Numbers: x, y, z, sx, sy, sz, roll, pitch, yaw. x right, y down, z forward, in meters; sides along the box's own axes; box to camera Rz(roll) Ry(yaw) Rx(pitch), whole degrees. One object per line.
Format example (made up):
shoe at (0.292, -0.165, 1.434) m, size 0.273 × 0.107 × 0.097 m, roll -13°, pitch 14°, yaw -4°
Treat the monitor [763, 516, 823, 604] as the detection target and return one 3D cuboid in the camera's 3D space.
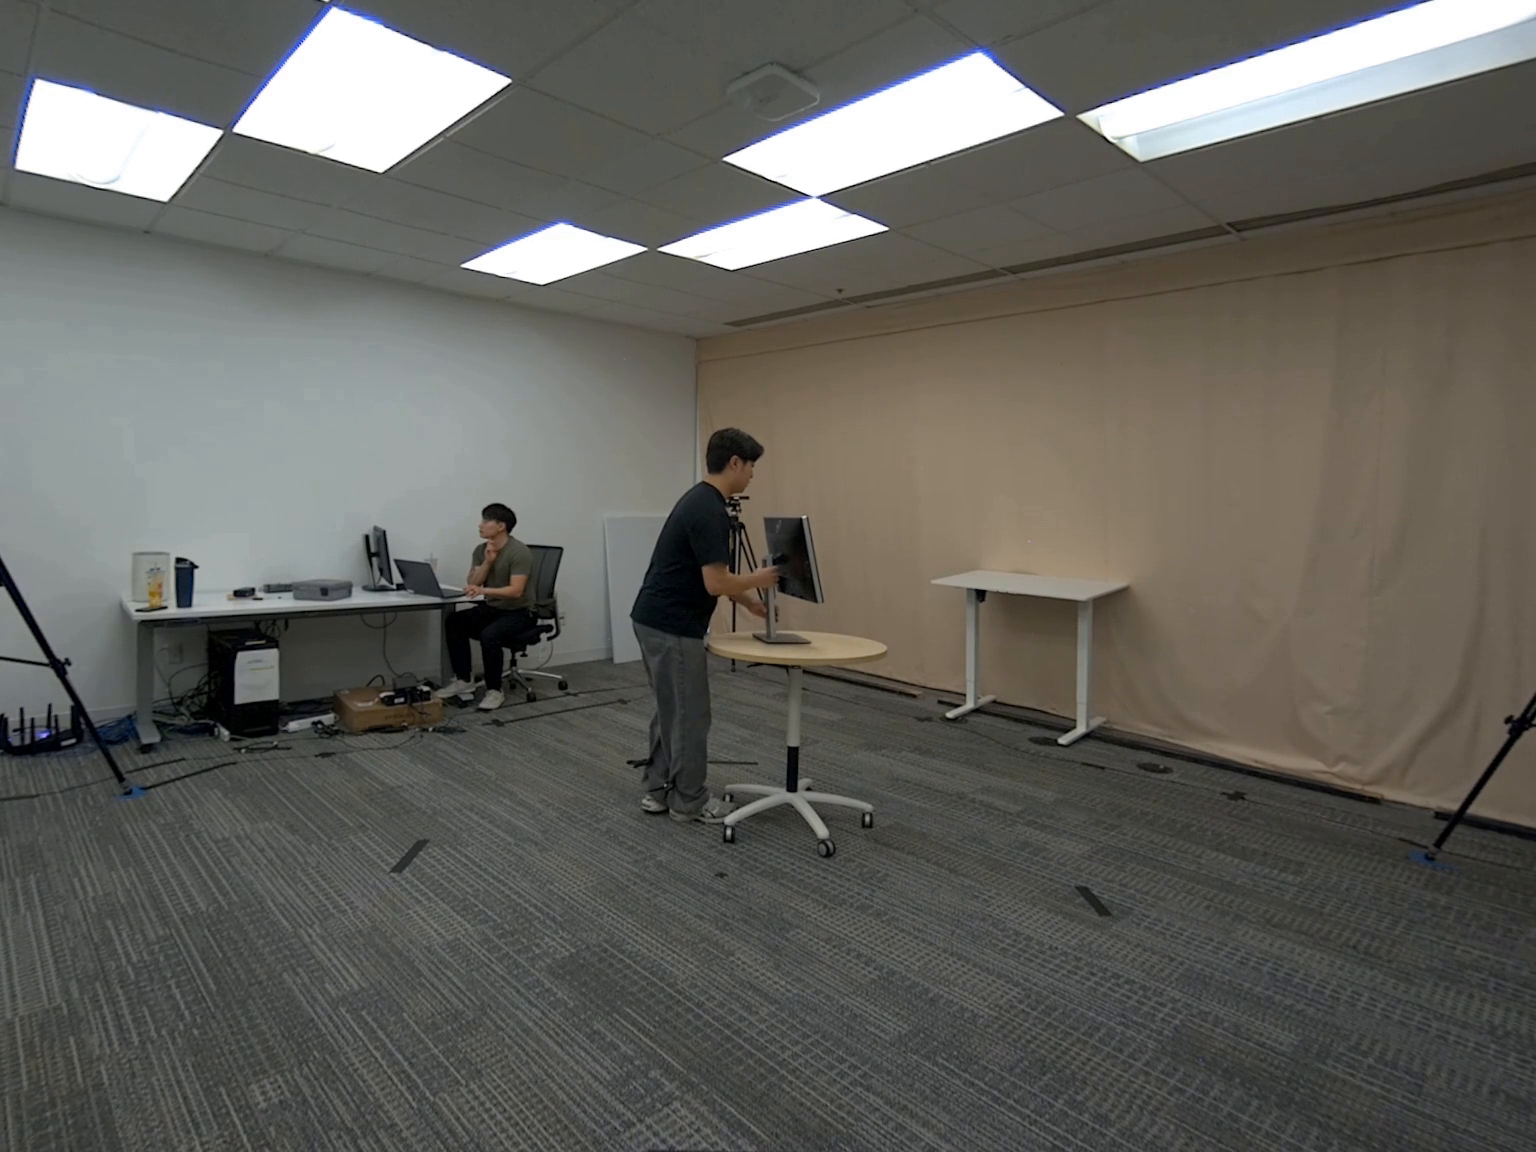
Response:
monitor at (0.064, 0.015, 3.681) m, size 0.220 × 0.565 × 0.568 m, roll 3°, pitch 3°, yaw -13°
